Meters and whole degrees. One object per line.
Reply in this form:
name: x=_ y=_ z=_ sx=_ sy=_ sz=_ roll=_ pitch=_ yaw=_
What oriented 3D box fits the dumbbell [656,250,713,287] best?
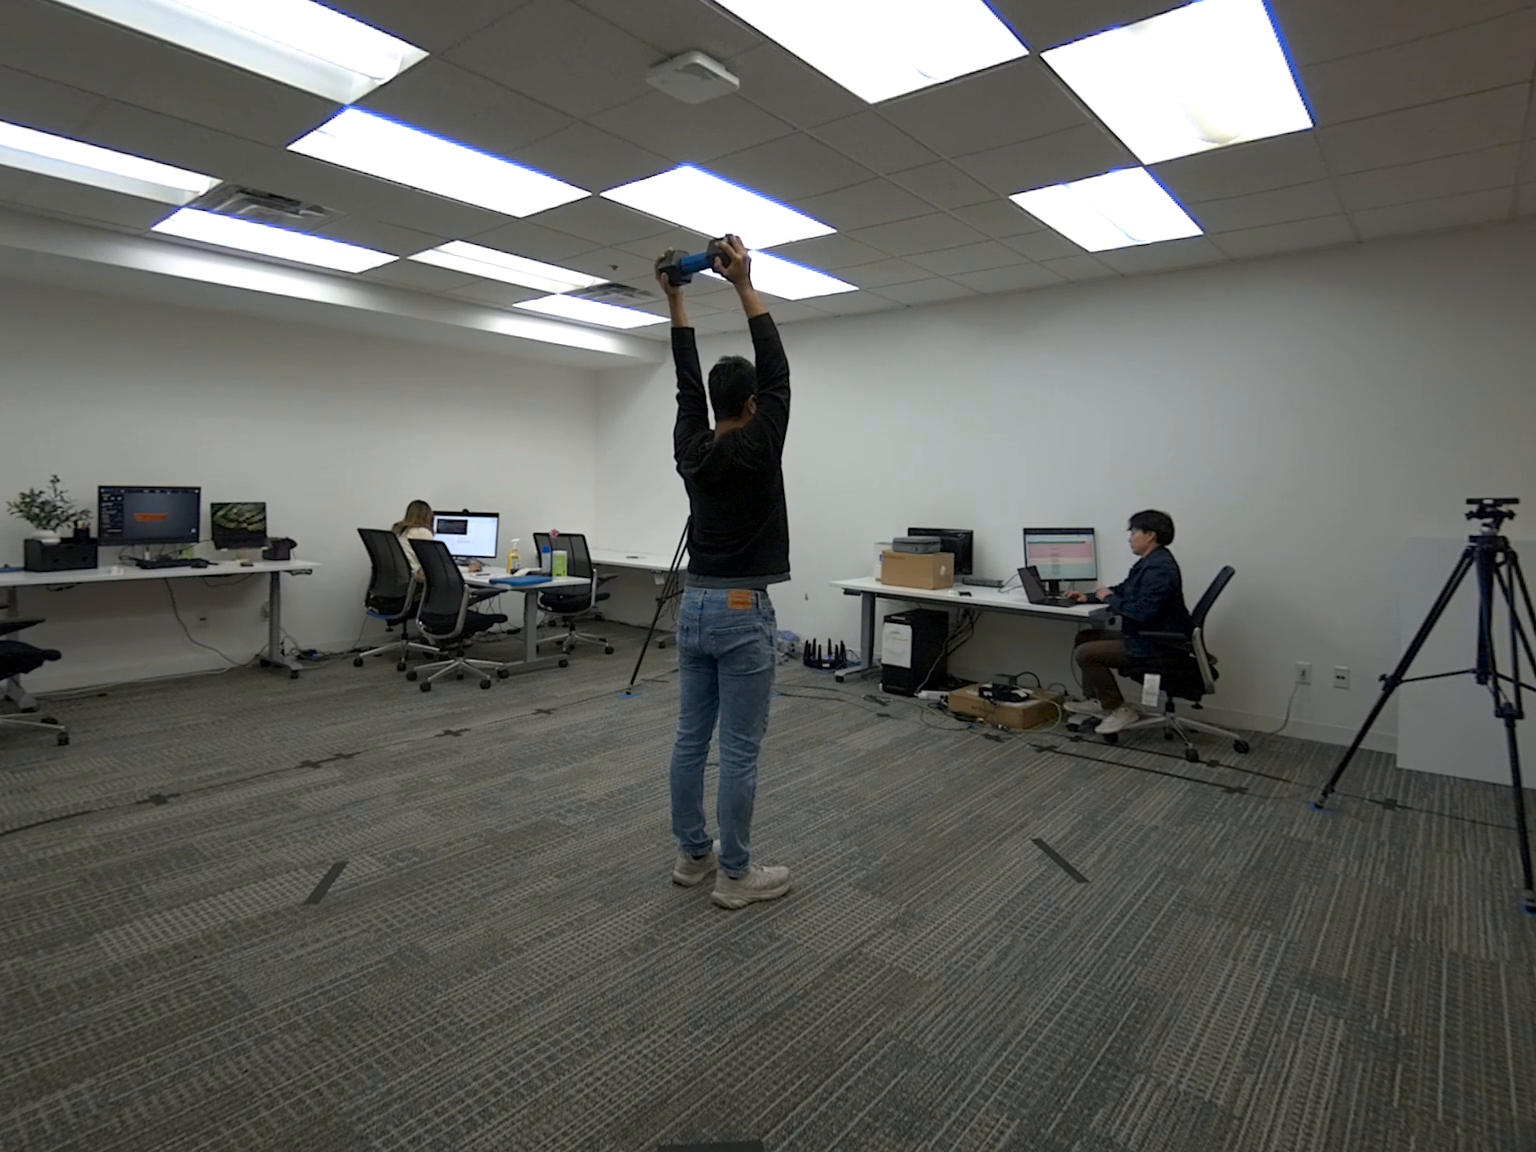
dumbbell: x=-0.230 y=-1.040 z=2.807 sx=0.303 sy=0.107 sz=0.120 roll=2 pitch=14 yaw=40
